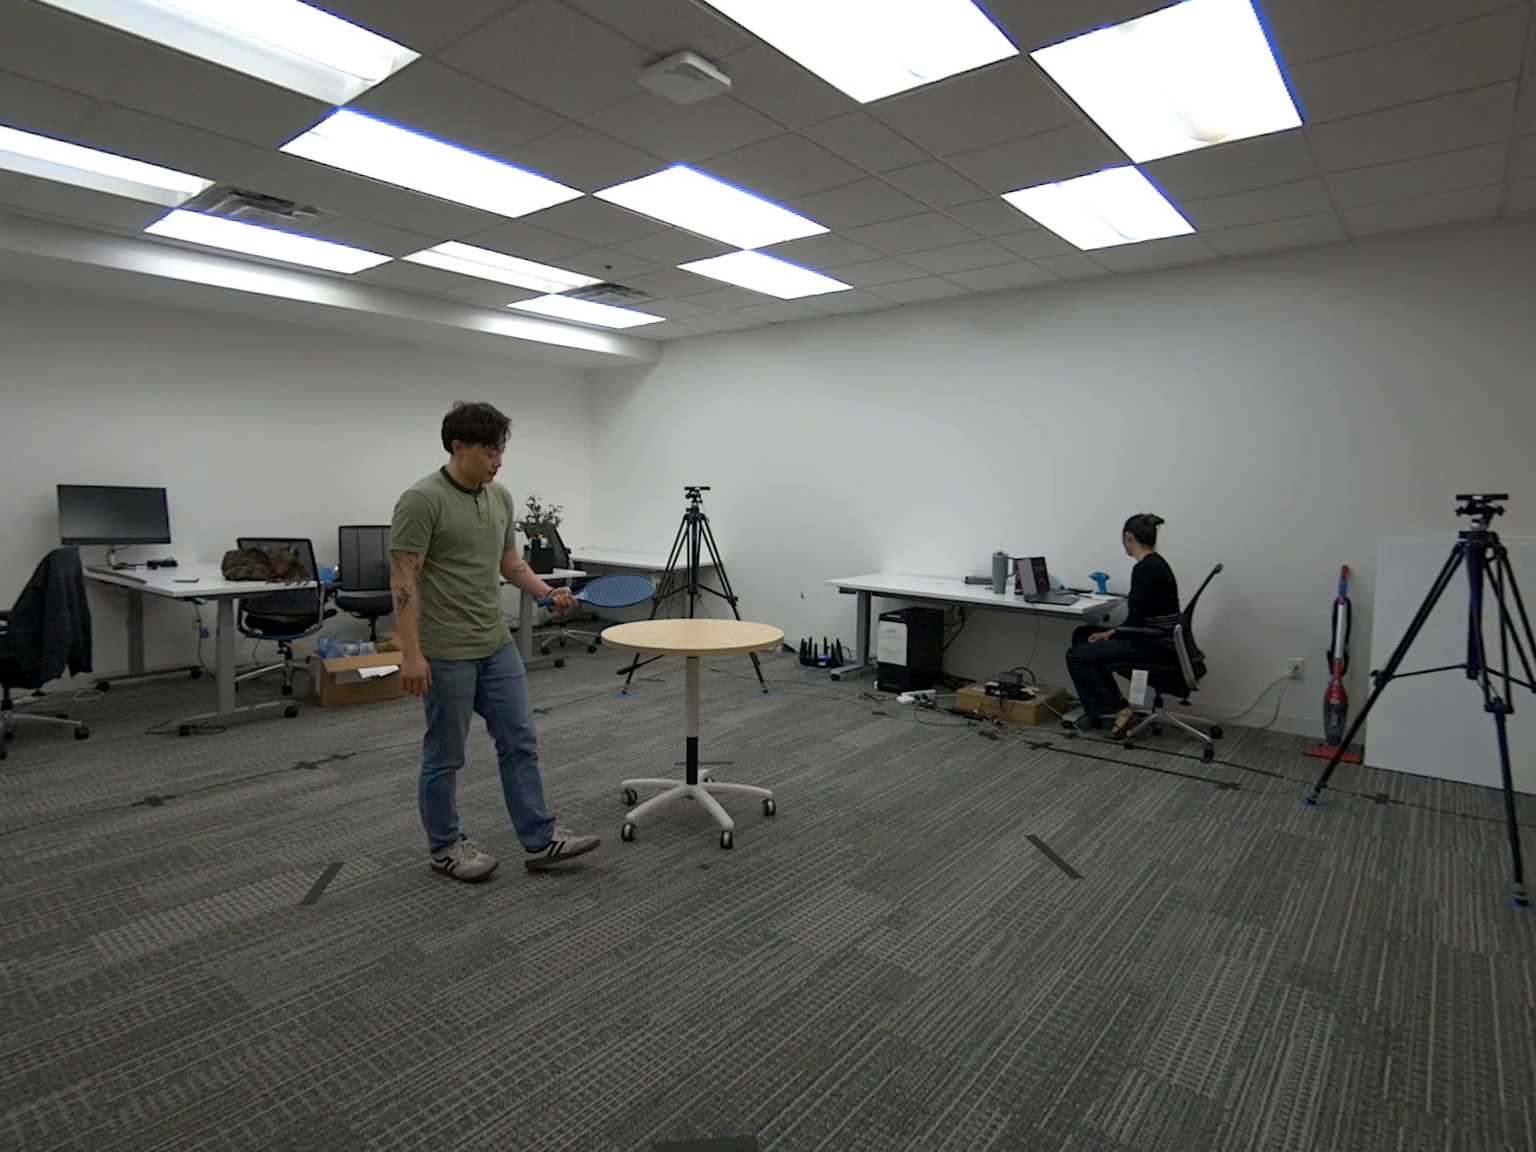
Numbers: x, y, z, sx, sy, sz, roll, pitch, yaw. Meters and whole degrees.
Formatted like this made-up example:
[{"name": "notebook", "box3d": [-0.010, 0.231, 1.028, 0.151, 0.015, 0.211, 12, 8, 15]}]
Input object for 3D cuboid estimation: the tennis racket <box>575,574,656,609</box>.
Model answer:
[{"name": "tennis racket", "box3d": [-0.659, 0.071, 3.125, 0.426, 0.031, 0.222, -12, 33, -19]}]
